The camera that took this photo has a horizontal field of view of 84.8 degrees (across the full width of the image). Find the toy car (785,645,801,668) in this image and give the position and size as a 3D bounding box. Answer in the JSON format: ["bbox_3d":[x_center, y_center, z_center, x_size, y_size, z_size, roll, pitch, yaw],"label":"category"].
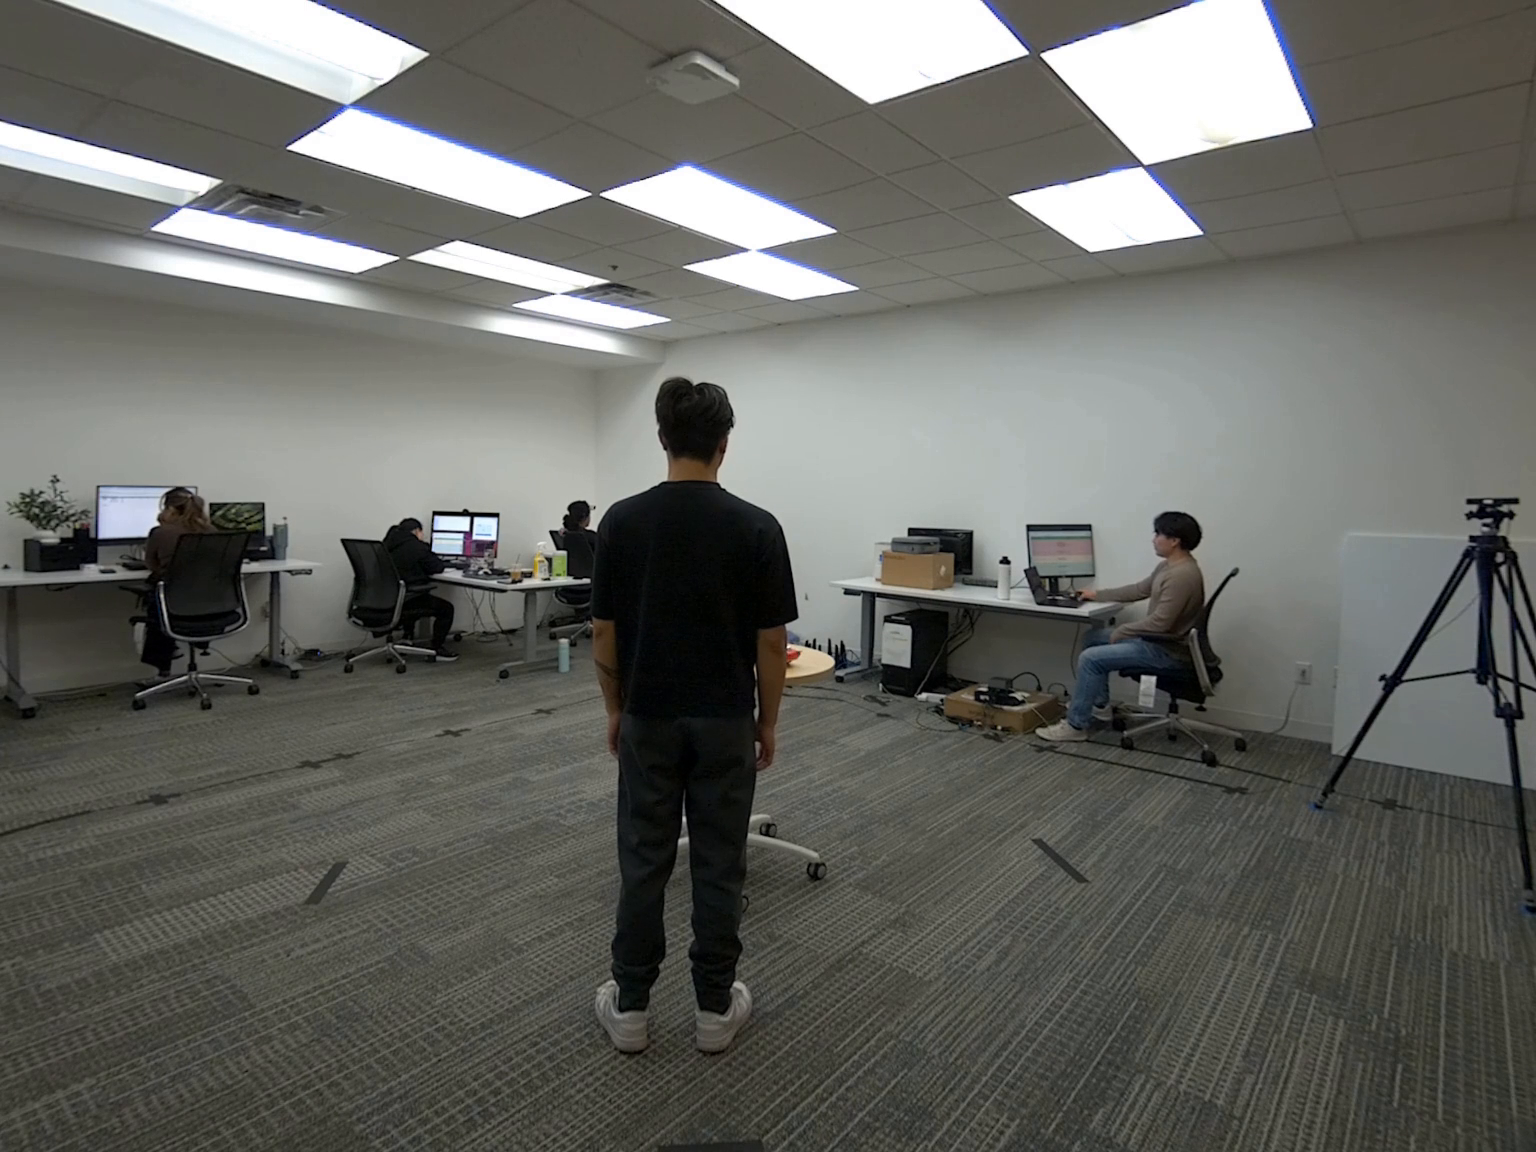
[{"bbox_3d":[-0.006,0.269,2.970,0.261,0.083,0.126,-7,-3,39],"label":"toy car"}]
